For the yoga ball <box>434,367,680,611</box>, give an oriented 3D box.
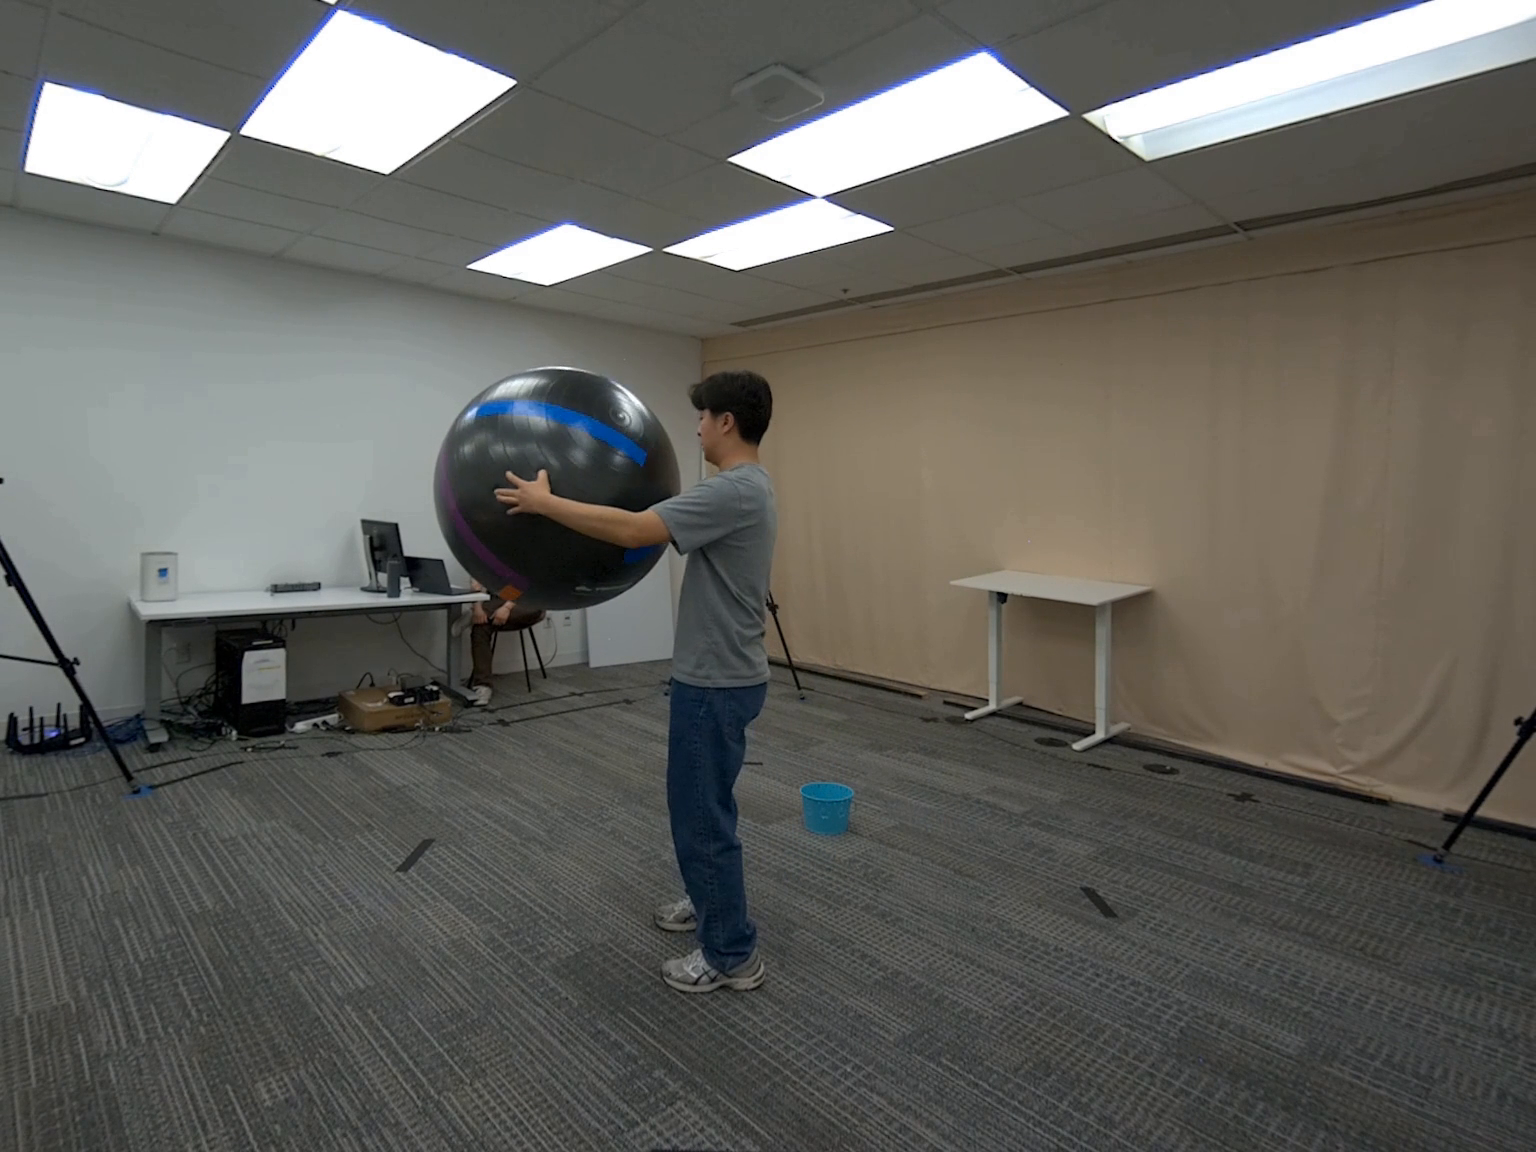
[{"bbox_3d":[-0.650,-0.264,2.639,0.757,0.756,0.761,1,4,-1],"label":"yoga ball"}]
